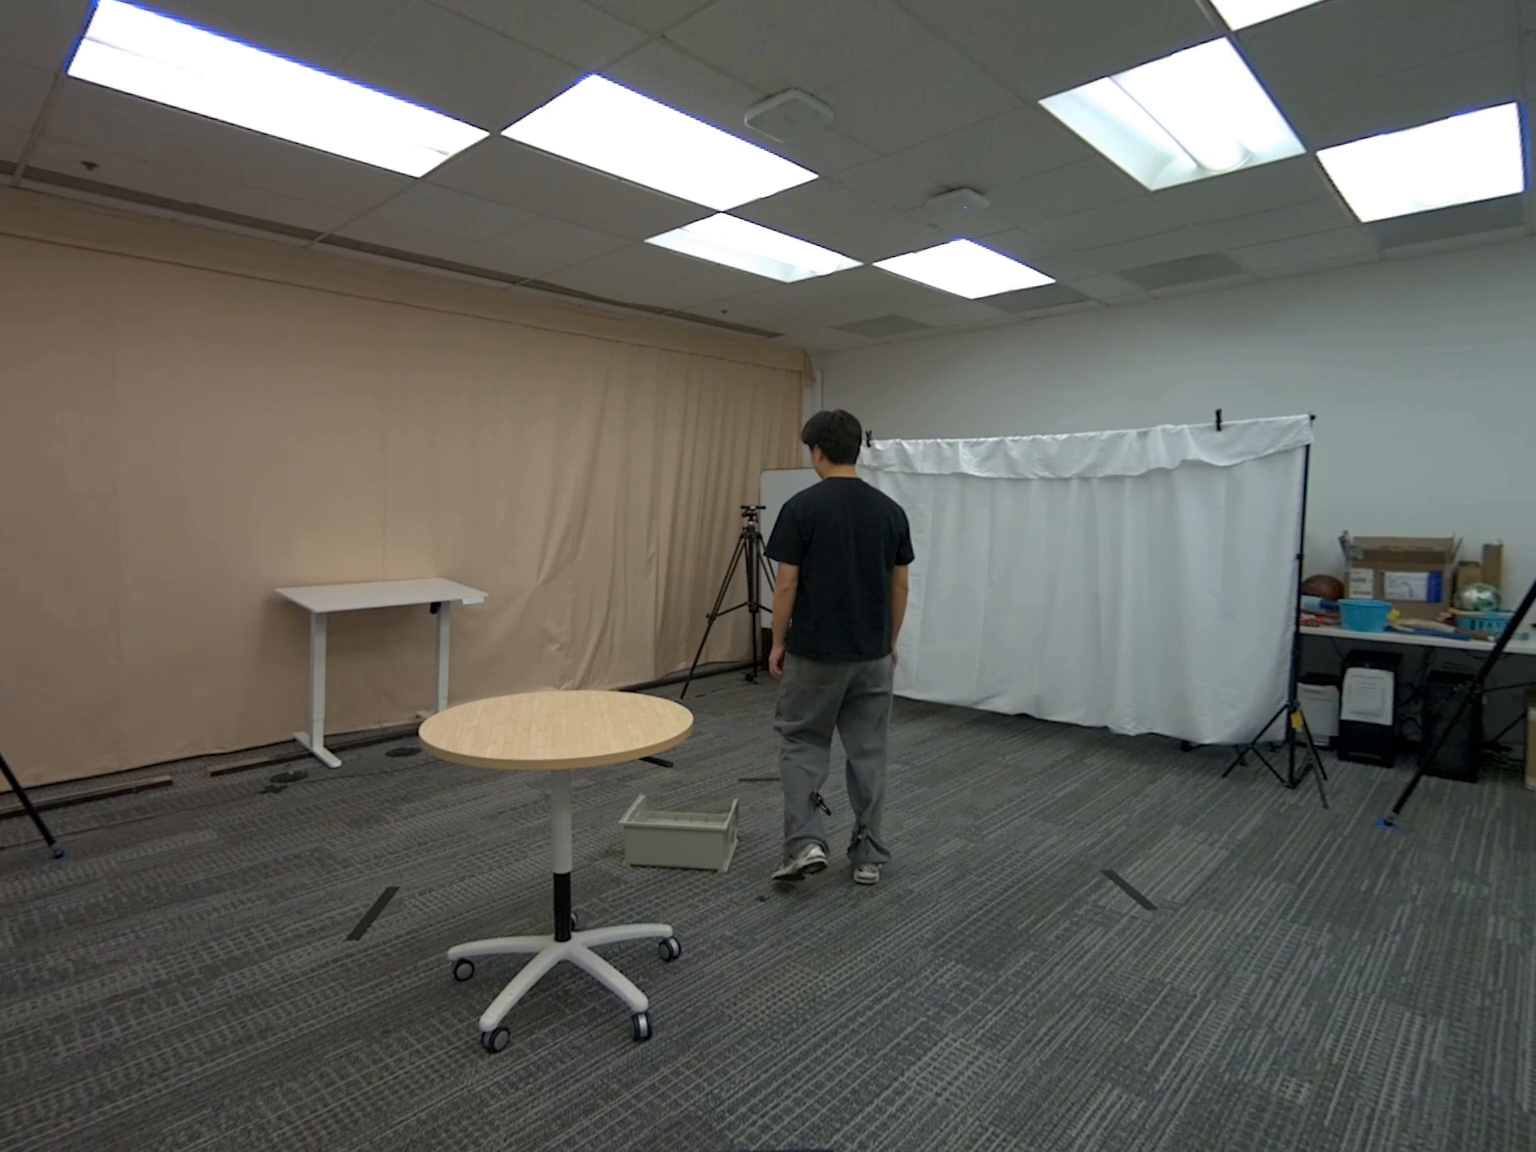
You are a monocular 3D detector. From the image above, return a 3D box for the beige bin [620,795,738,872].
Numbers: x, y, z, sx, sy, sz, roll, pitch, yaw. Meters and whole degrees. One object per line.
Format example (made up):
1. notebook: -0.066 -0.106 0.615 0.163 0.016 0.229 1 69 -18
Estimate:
1. beige bin: -0.346 1.022 3.394 0.426 0.188 0.375 1 5 8
